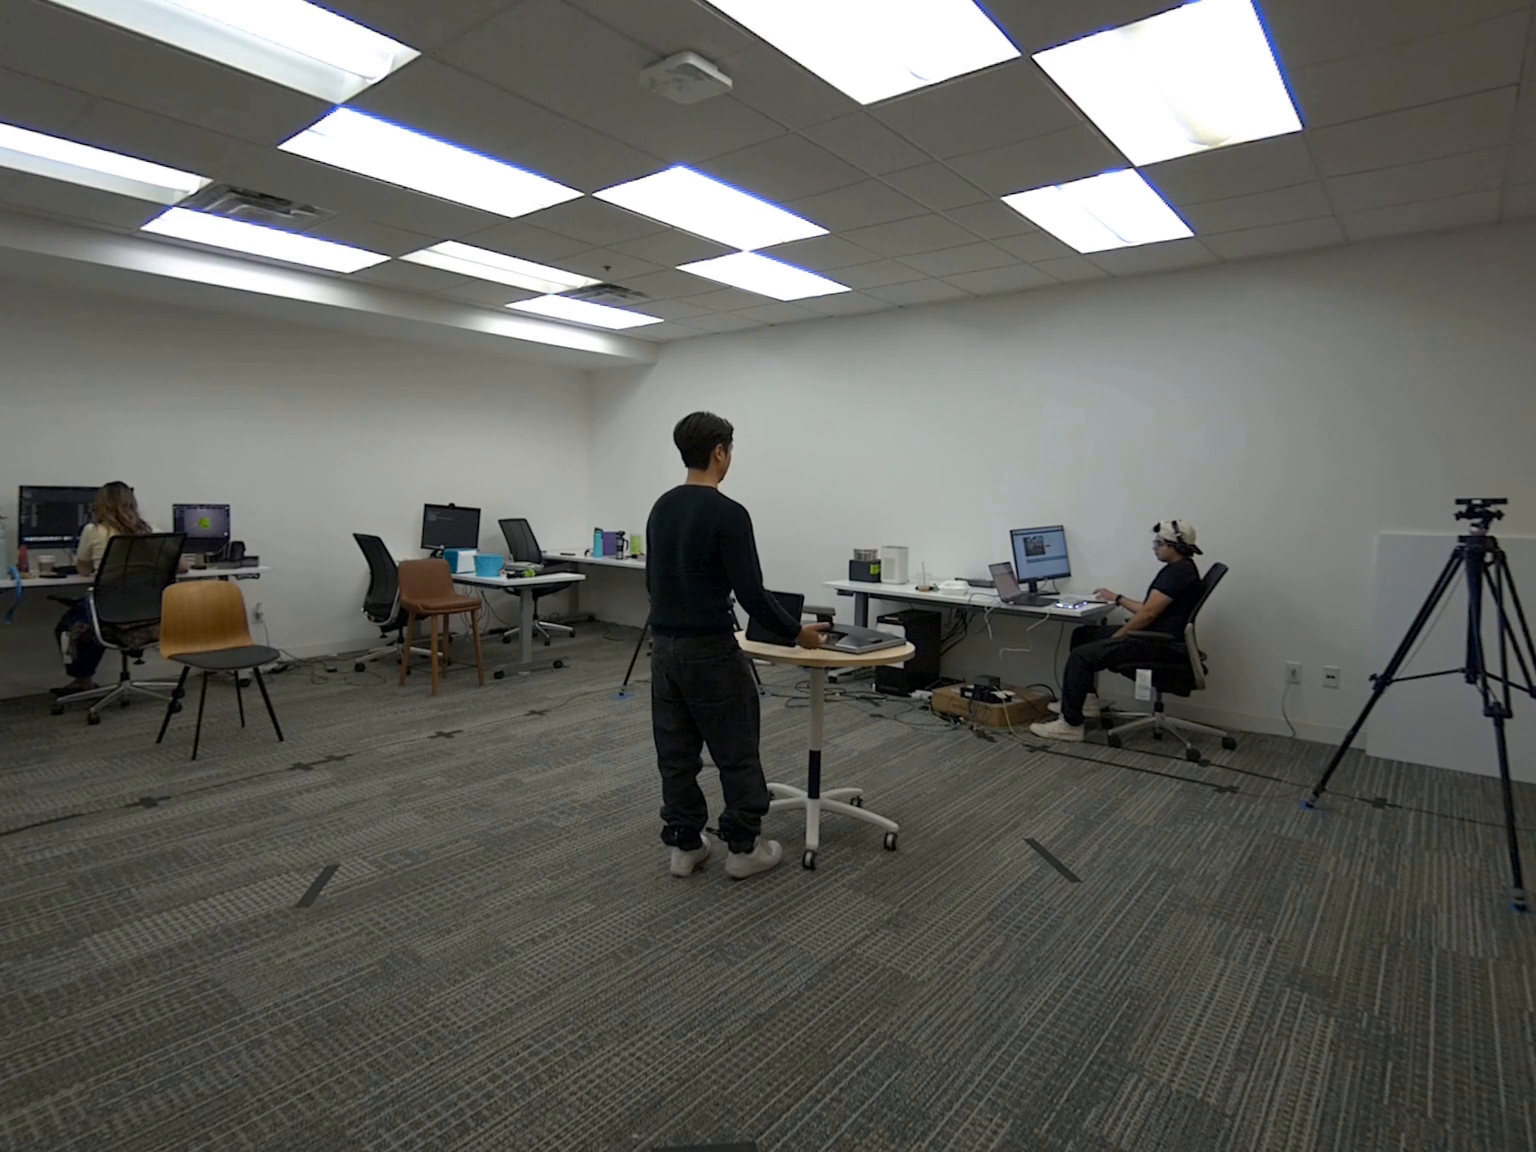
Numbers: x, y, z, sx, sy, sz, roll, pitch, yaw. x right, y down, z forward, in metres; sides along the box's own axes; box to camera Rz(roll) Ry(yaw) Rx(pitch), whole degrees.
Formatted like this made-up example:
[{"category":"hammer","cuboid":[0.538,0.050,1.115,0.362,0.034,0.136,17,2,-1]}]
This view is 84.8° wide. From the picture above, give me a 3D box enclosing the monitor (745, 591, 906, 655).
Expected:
[{"category":"monitor","cuboid":[0.174,0.195,3.431,0.558,0.188,0.502,8,-7,40]}]
